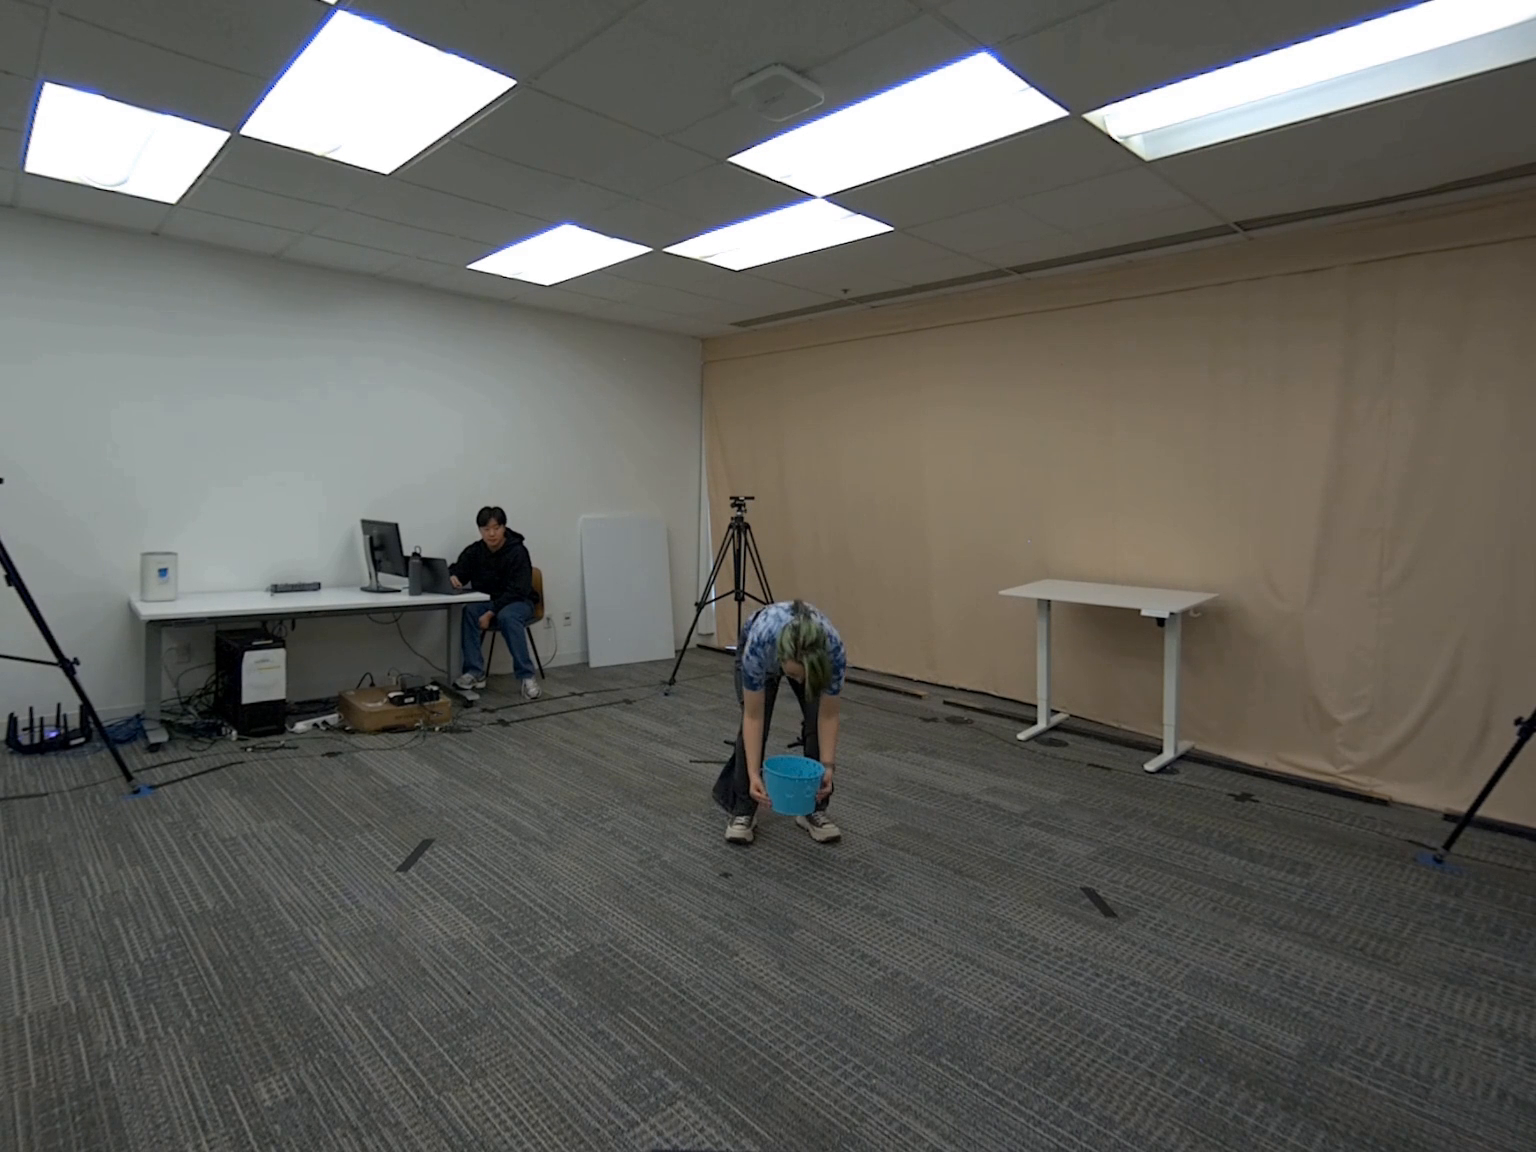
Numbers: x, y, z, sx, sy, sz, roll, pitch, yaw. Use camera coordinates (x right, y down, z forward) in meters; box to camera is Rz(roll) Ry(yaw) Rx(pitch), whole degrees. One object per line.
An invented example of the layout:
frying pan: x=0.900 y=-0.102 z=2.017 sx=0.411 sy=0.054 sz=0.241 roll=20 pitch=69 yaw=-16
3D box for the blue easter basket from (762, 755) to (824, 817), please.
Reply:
blue easter basket: x=0.086 y=0.780 z=3.135 sx=0.243 sy=0.155 sz=0.245 roll=3 pitch=7 yaw=-2
